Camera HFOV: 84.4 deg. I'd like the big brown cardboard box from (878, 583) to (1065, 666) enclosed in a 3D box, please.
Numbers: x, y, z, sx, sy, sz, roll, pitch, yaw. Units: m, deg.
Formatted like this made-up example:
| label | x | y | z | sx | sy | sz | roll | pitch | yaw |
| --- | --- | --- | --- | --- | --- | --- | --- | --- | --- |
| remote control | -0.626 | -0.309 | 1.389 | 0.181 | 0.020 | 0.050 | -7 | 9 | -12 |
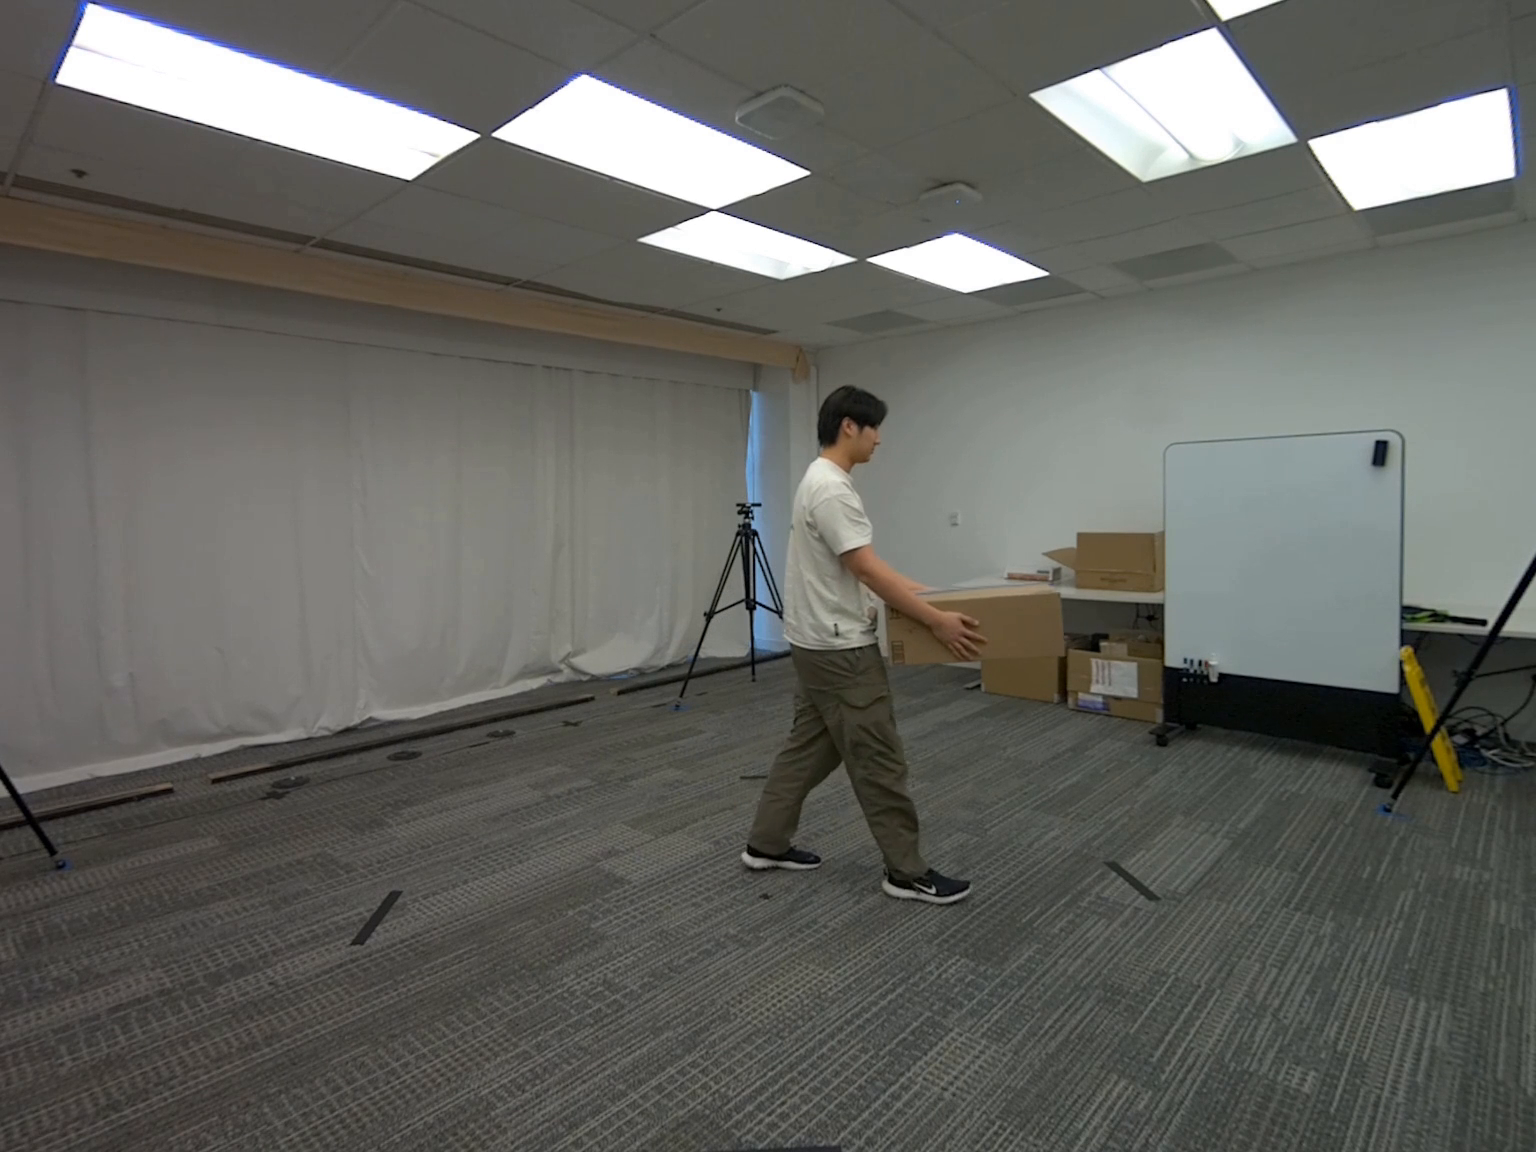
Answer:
| label | x | y | z | sx | sy | sz | roll | pitch | yaw |
| --- | --- | --- | --- | --- | --- | --- | --- | --- | --- |
| big brown cardboard box | 0.719 | 0.154 | 2.985 | 0.595 | 0.233 | 0.414 | -5 | 4 | 9 |
